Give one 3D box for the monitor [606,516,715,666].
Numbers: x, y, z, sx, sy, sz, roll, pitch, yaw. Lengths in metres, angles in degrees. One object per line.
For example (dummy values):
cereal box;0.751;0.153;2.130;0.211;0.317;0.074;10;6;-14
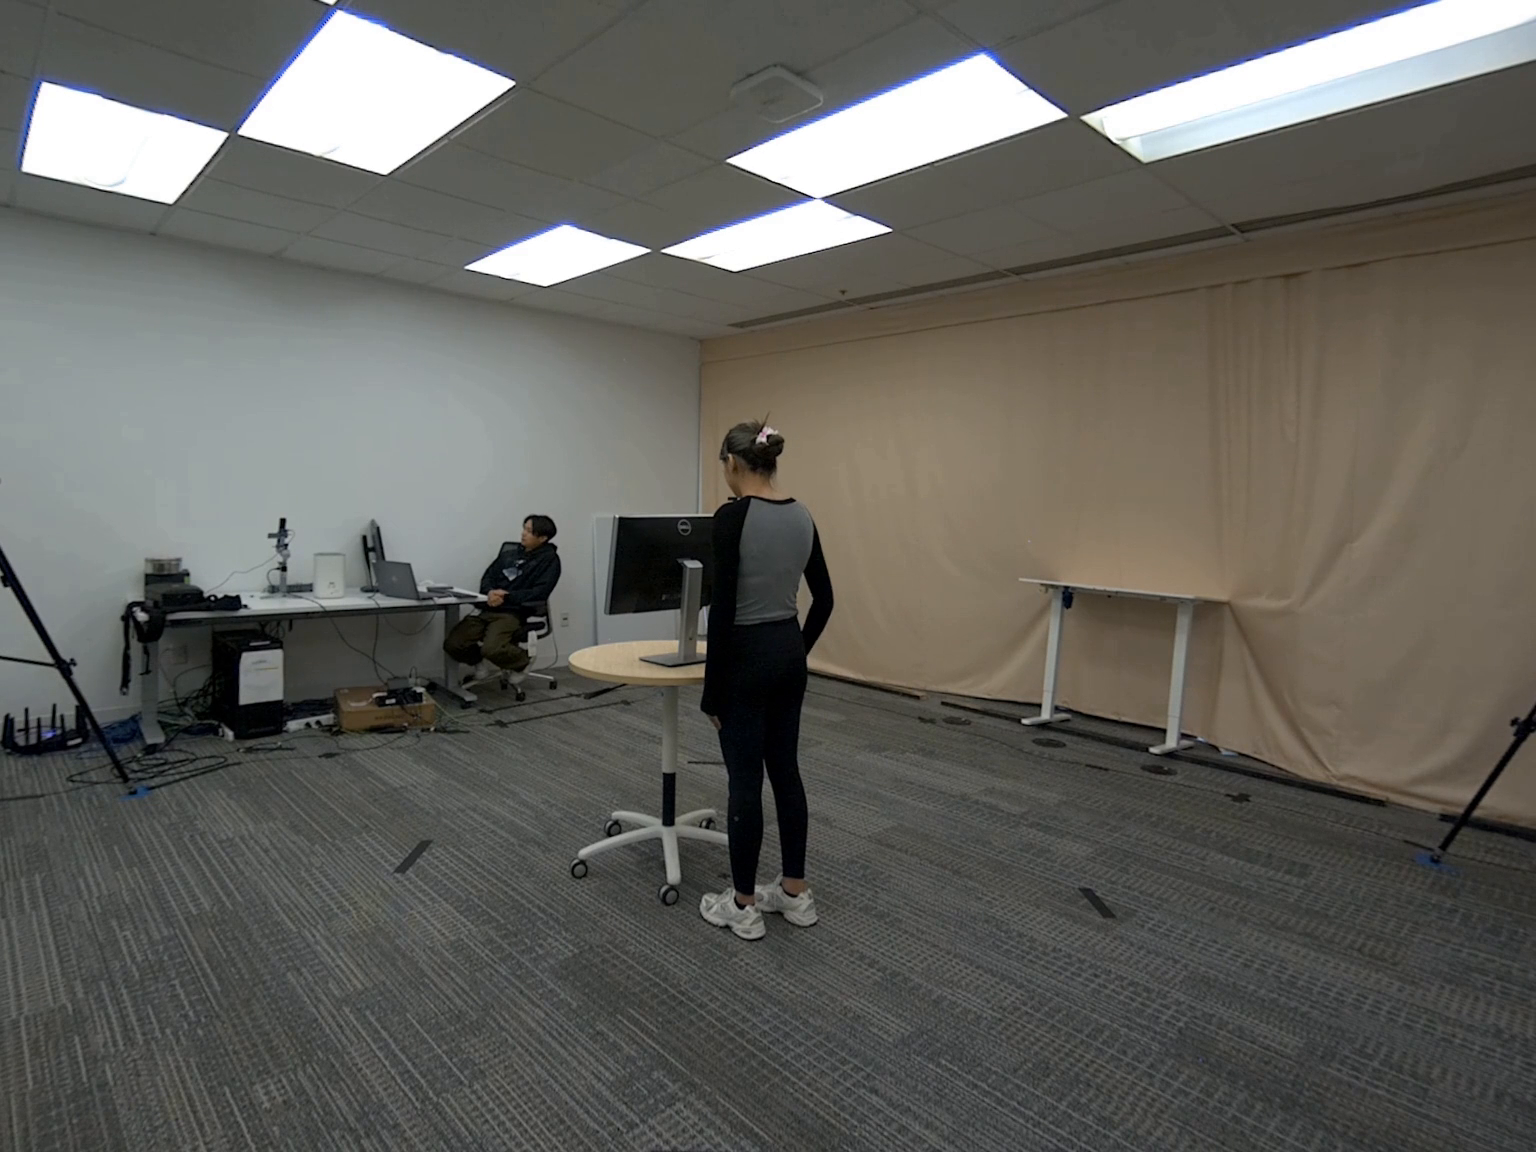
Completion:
monitor;-0.331;0.048;3.109;0.527;0.522;0.191;-2;3;-43
